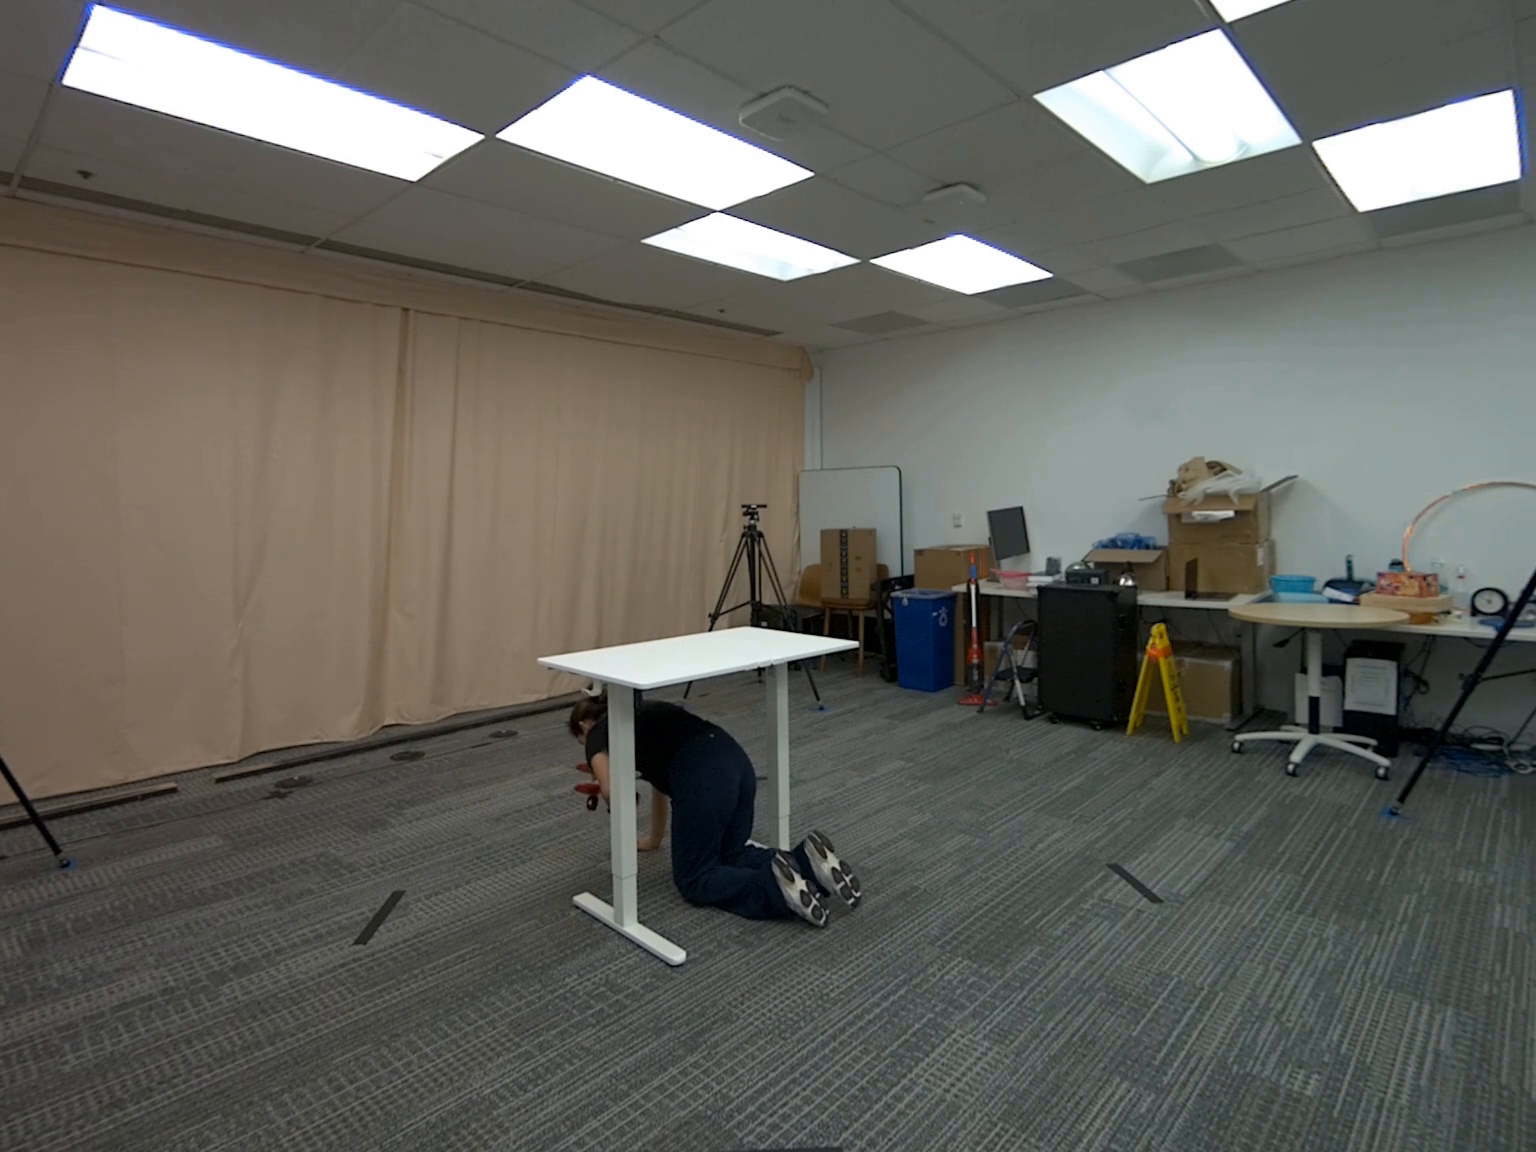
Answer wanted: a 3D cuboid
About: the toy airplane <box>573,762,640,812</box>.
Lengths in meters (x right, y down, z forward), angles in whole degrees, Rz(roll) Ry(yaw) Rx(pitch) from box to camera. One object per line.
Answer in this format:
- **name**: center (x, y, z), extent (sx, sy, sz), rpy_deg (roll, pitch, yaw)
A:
- **toy airplane**: center (-0.560, 0.761, 3.136), extent (0.262, 0.160, 0.242), rpy_deg (-27, -45, 17)
